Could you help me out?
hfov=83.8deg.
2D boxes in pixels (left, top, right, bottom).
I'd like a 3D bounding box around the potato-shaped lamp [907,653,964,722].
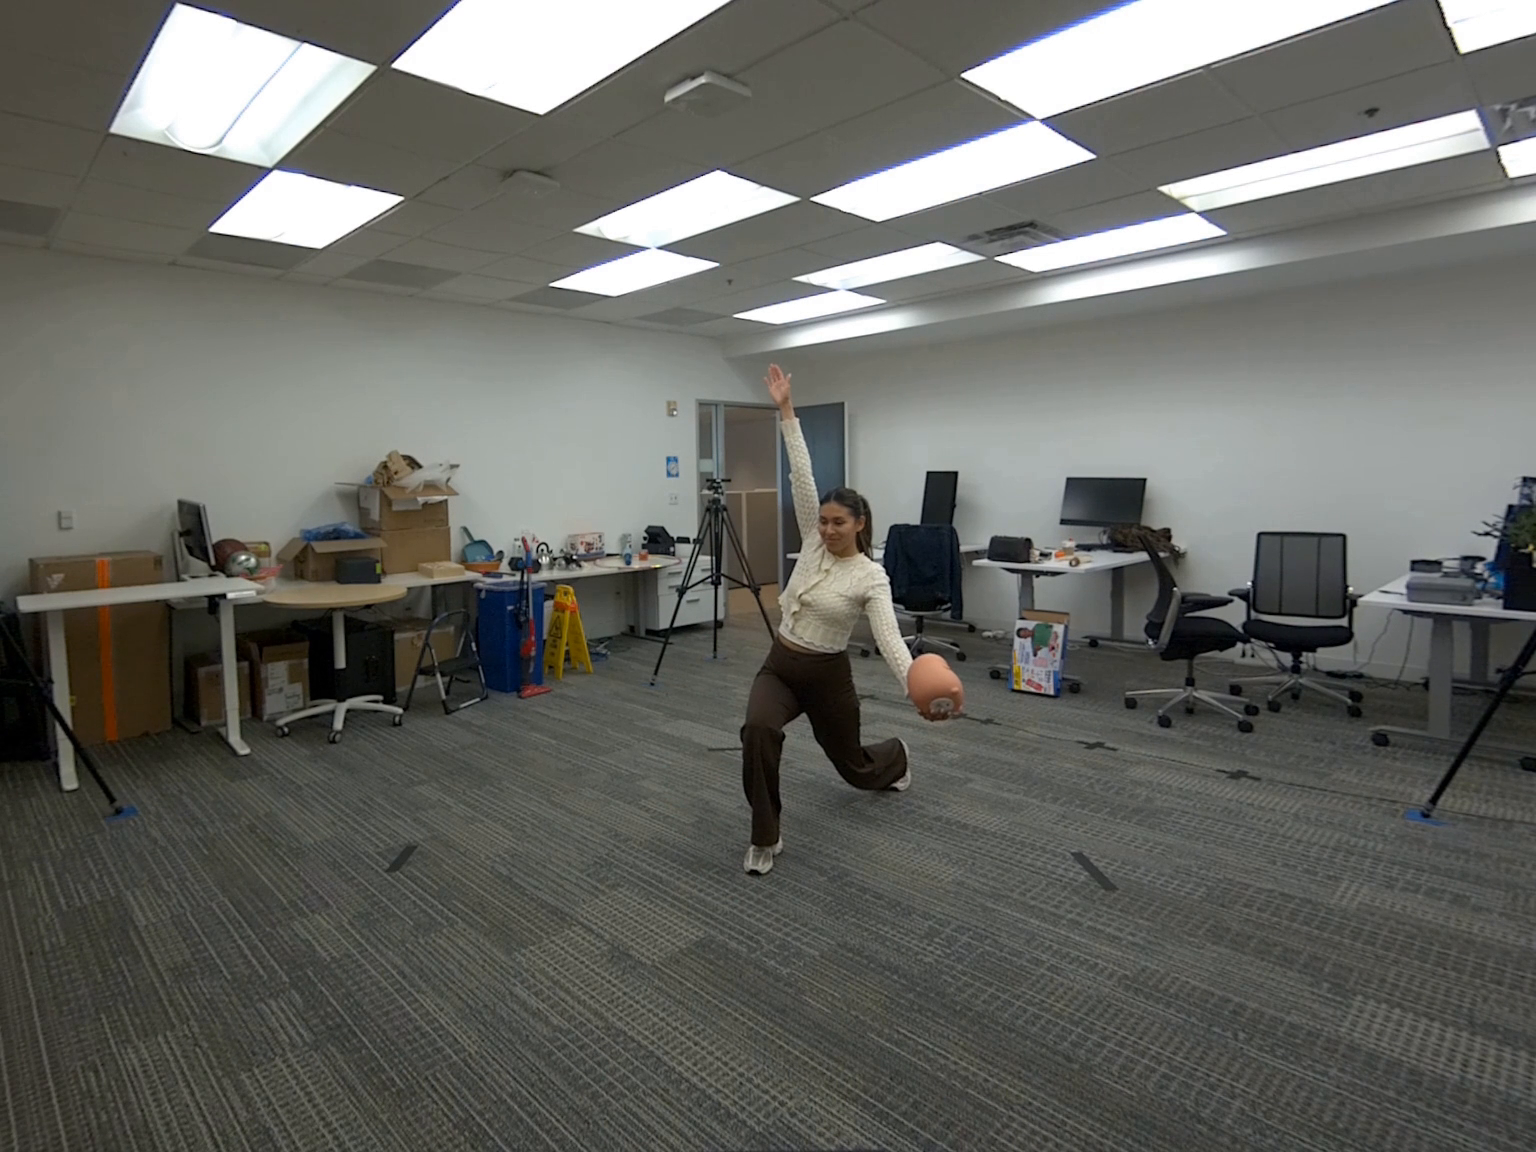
[{"bbox_3d":[0.549,0.352,2.815,0.173,0.159,0.203,-12,41,9],"label":"potato-shaped lamp"}]
